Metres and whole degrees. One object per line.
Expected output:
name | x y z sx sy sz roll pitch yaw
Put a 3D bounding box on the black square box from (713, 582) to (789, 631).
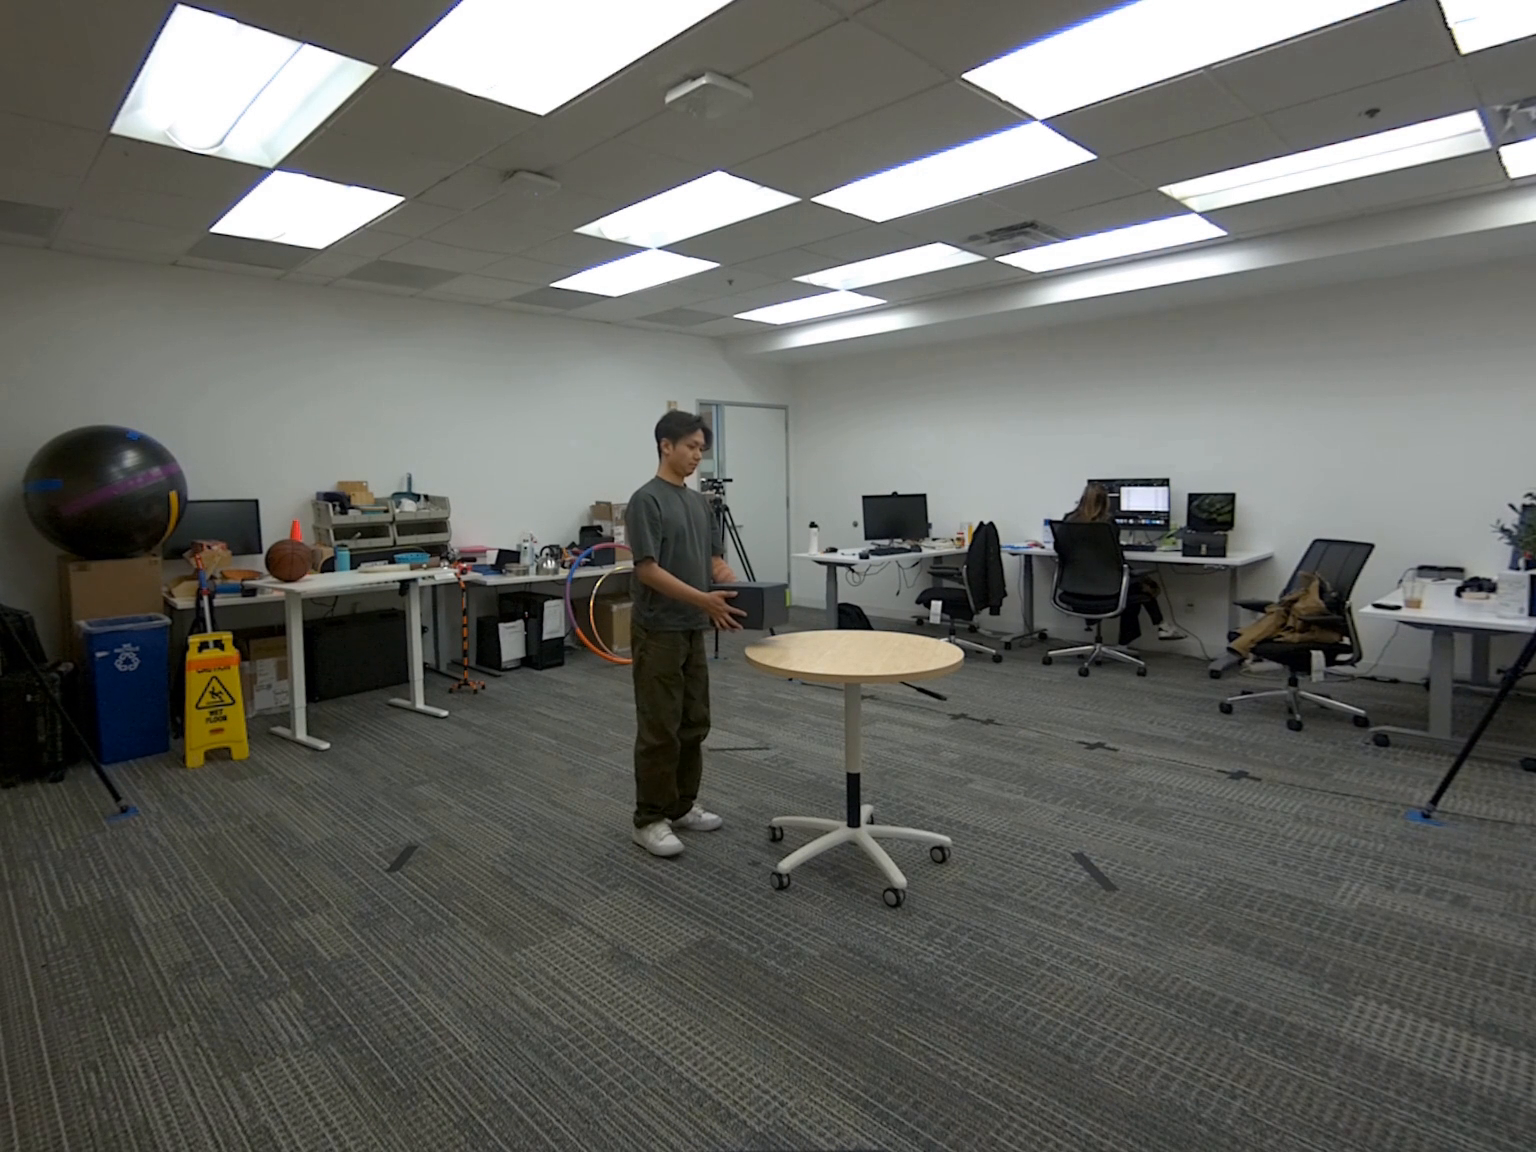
black square box | -0.068 0.107 3.199 0.234 0.156 0.212 1 3 29
